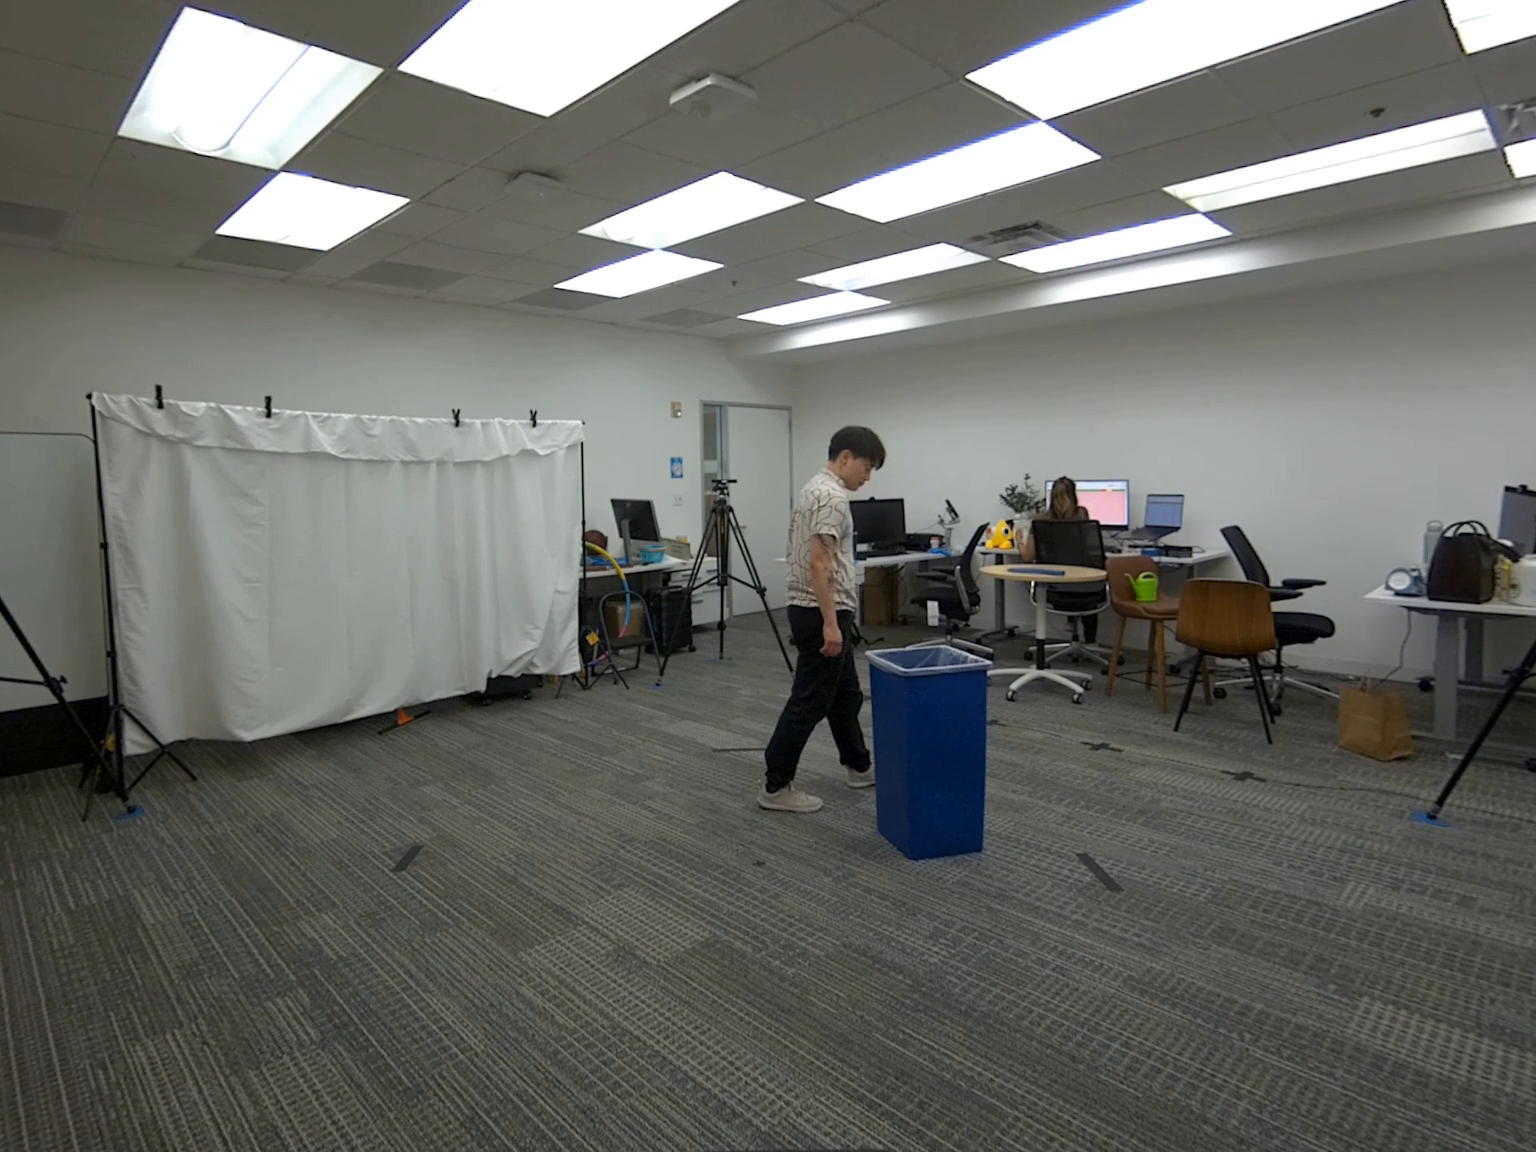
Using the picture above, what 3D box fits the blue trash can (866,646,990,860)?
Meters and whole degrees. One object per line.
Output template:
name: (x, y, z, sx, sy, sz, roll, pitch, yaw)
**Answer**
blue trash can: (0.607, 0.663, 3.262, 0.369, 0.711, 0.385, -2, 4, -16)
